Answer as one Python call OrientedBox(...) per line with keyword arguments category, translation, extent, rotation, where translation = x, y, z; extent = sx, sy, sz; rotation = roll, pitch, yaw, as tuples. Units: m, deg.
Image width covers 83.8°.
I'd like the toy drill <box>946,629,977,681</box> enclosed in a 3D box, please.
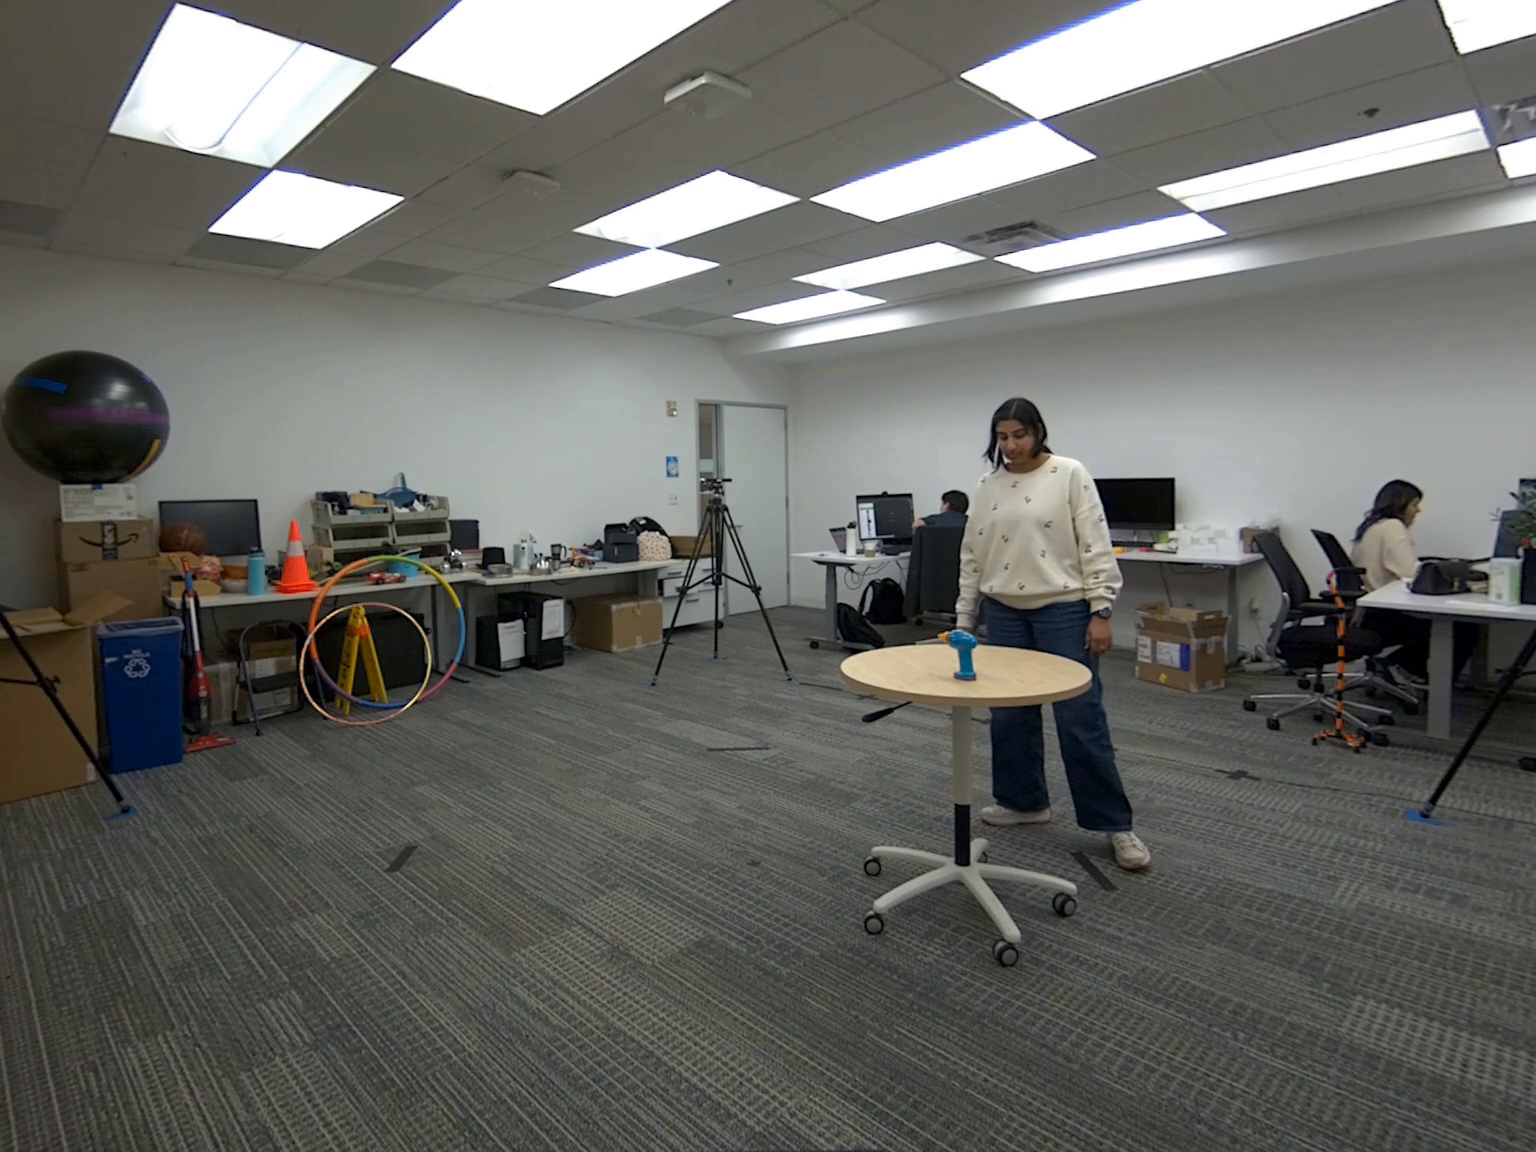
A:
OrientedBox(category="toy drill", translation=(0.584, 0.234, 2.601), extent=(0.060, 0.145, 0.174), rotation=(-6, 6, -25))
